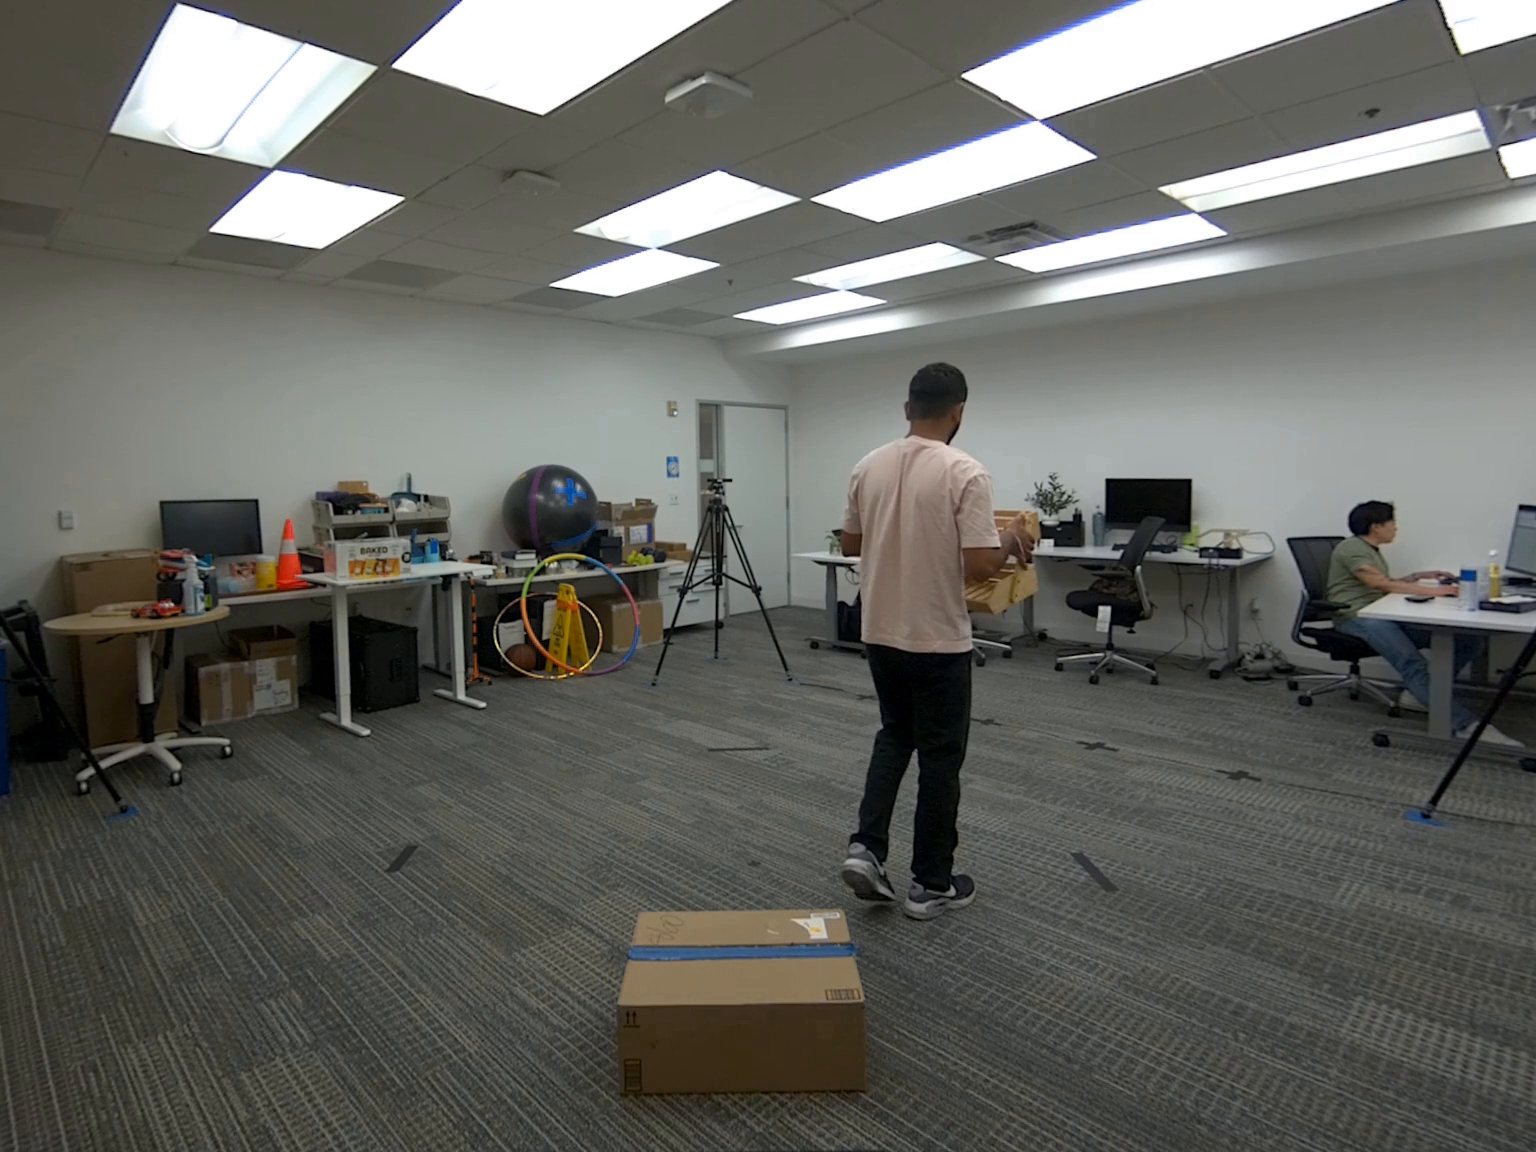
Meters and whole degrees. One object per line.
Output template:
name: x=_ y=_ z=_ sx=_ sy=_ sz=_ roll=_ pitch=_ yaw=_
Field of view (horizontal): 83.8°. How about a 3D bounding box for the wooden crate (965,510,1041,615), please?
wooden crate: x=0.689 y=-0.058 z=2.845 sx=0.297 sy=0.269 sz=0.334 roll=-21 pitch=17 yaw=-33
